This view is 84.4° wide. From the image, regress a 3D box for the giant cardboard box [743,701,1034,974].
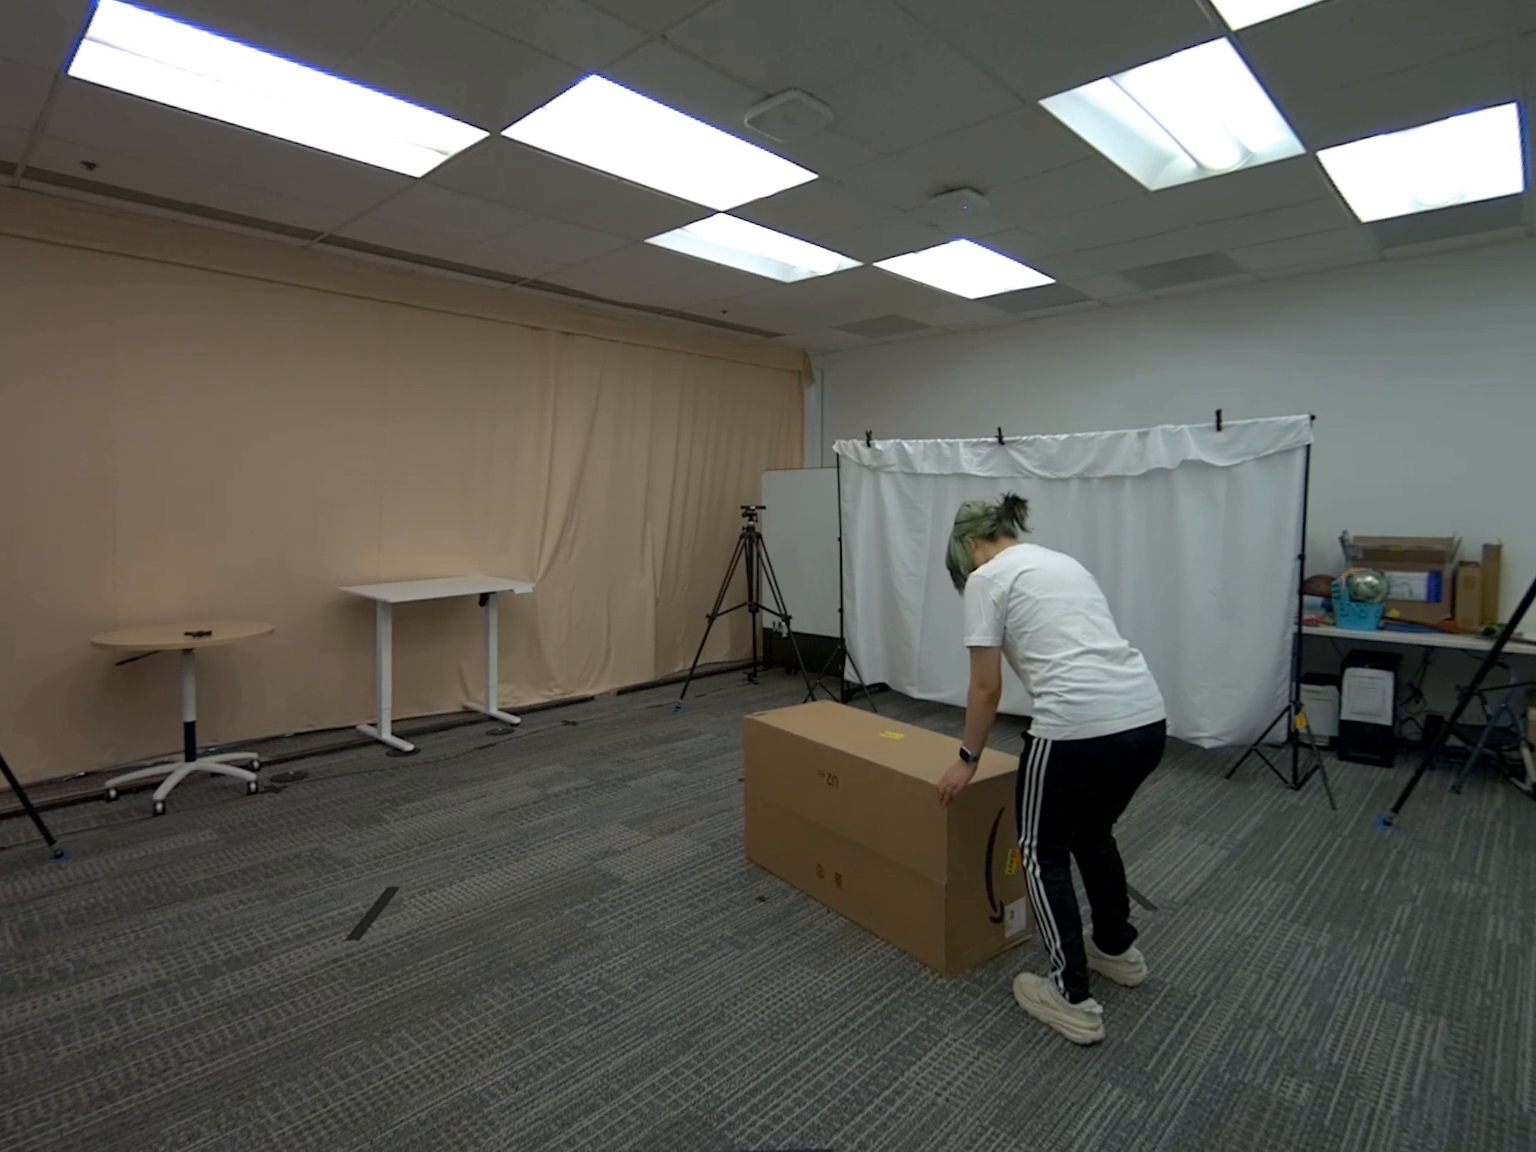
[{"bbox_3d":[0.389,0.853,2.999,0.433,0.582,1.060,-2,5,-36],"label":"giant cardboard box"}]
